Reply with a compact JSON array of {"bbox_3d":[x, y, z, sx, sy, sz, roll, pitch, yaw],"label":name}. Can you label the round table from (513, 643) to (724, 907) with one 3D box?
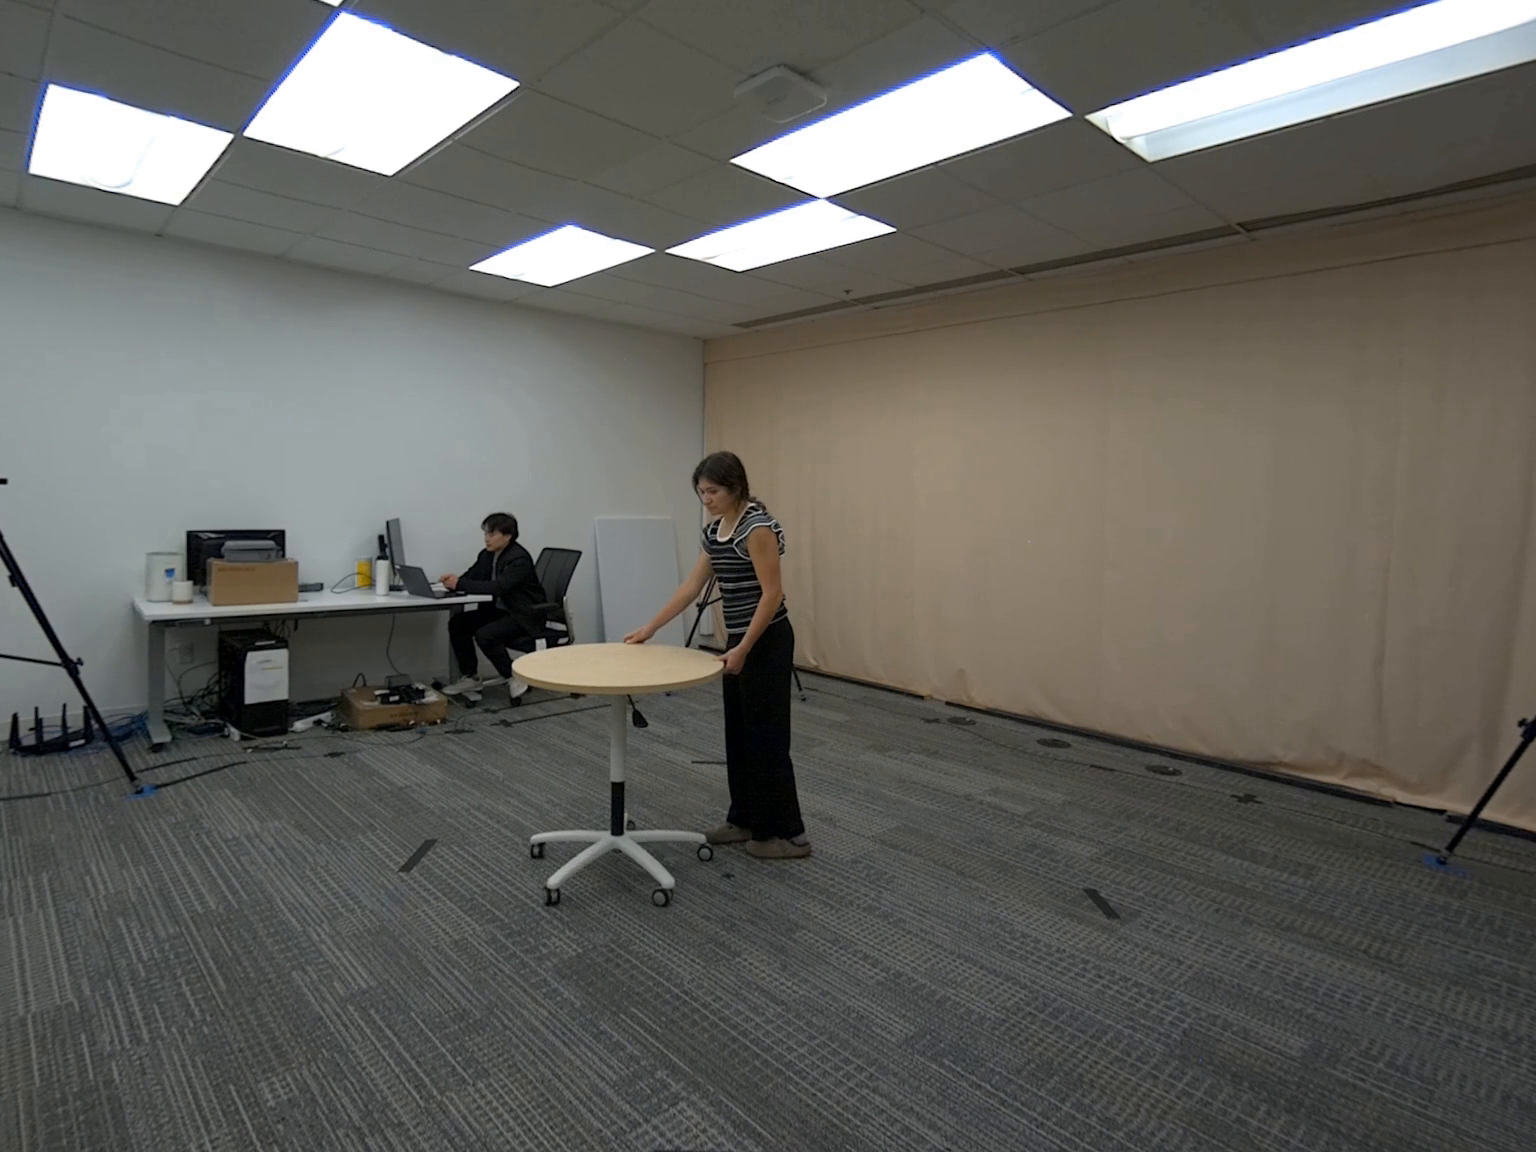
[{"bbox_3d":[-0.549,0.705,3.087,0.784,0.784,0.788,1,4,-1],"label":"round table"}]
